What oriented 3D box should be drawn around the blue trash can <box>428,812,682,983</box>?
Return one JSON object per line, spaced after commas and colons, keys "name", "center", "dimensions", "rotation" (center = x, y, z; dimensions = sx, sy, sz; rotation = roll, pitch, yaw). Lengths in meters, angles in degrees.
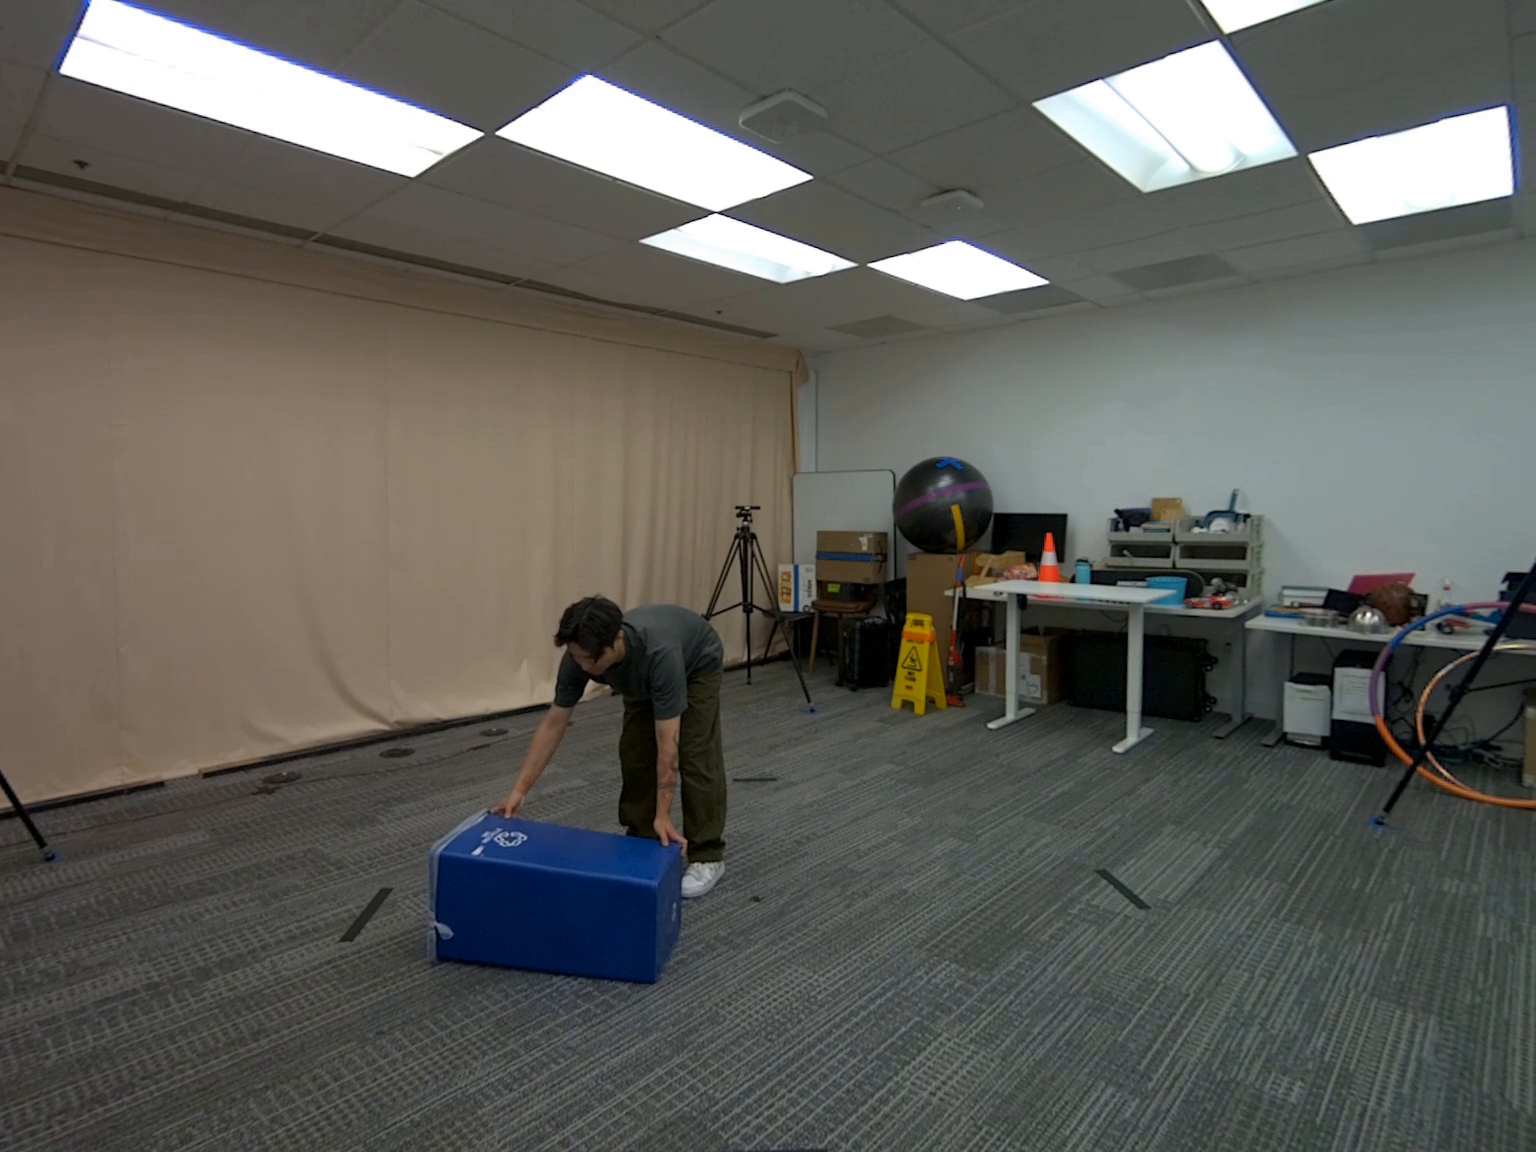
{"name": "blue trash can", "center": [-0.658, 1.002, 2.648], "dimensions": [0.723, 0.373, 0.374], "rotation": [2, 3, 12]}
